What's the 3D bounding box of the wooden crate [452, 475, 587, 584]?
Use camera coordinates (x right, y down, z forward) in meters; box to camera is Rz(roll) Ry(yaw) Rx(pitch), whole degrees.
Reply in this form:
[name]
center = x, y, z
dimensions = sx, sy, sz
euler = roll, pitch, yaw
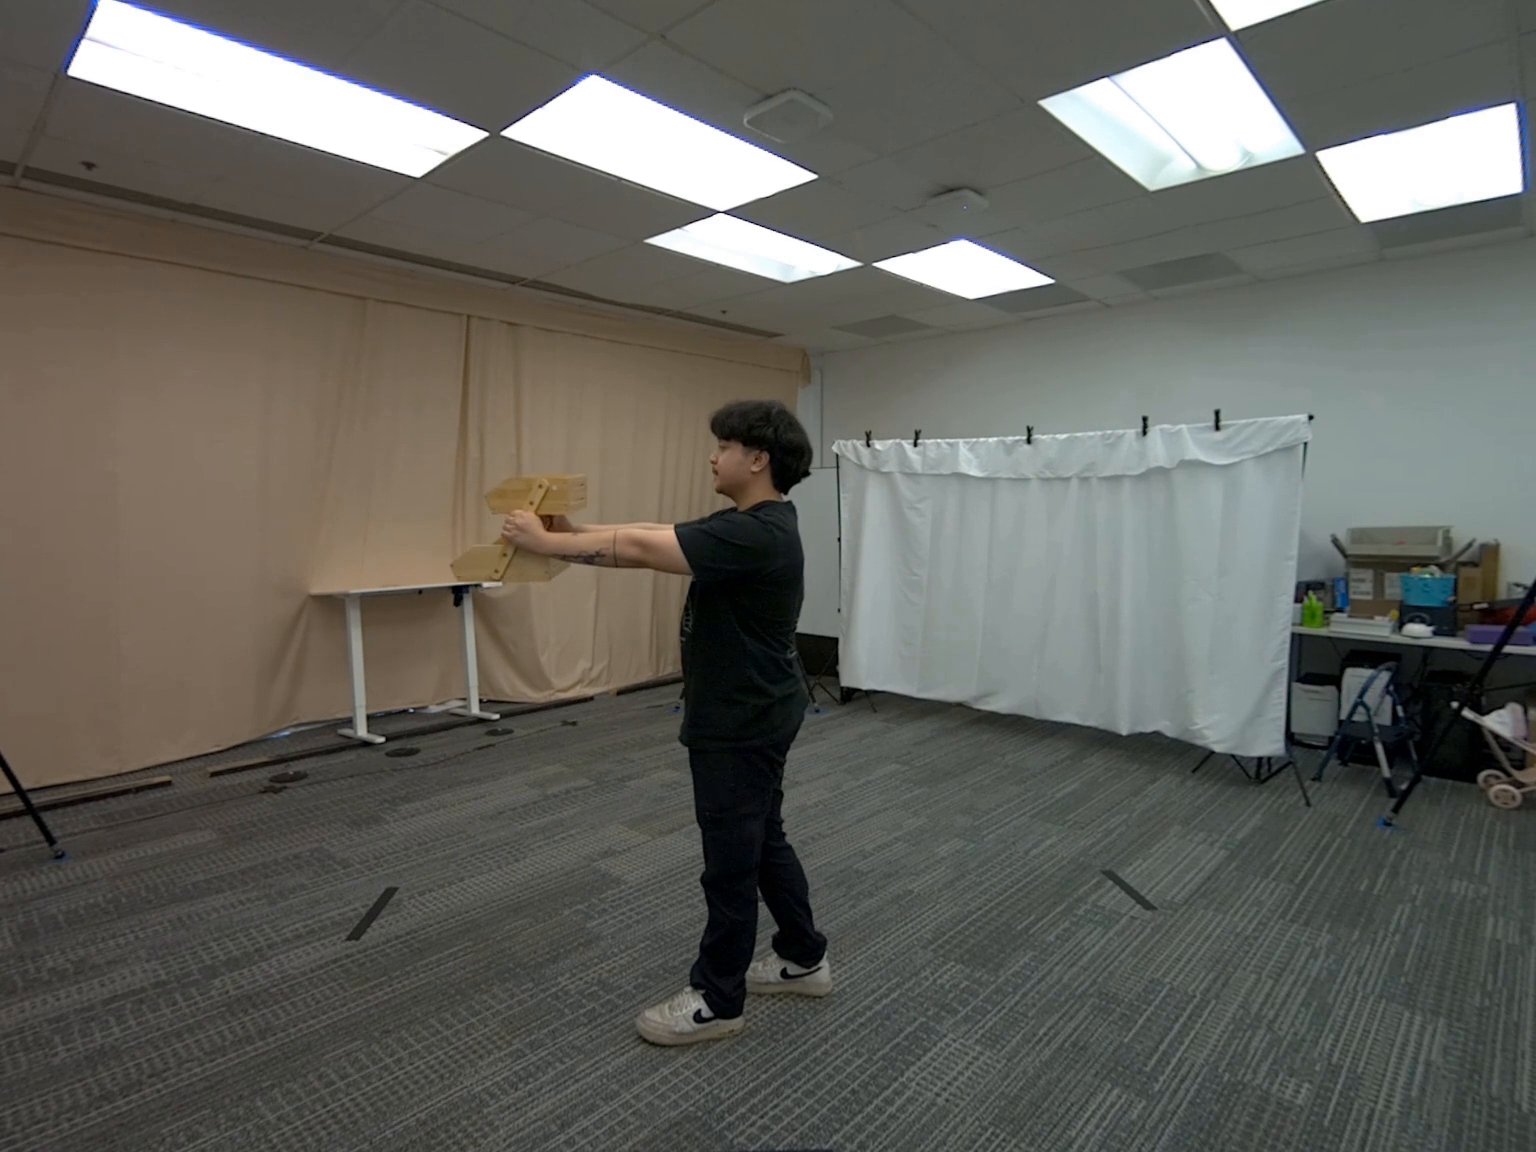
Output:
[wooden crate]
center = -0.658, -0.138, 2.234
dimensions = 0.302, 0.272, 0.326
euler = 1, 7, -2
